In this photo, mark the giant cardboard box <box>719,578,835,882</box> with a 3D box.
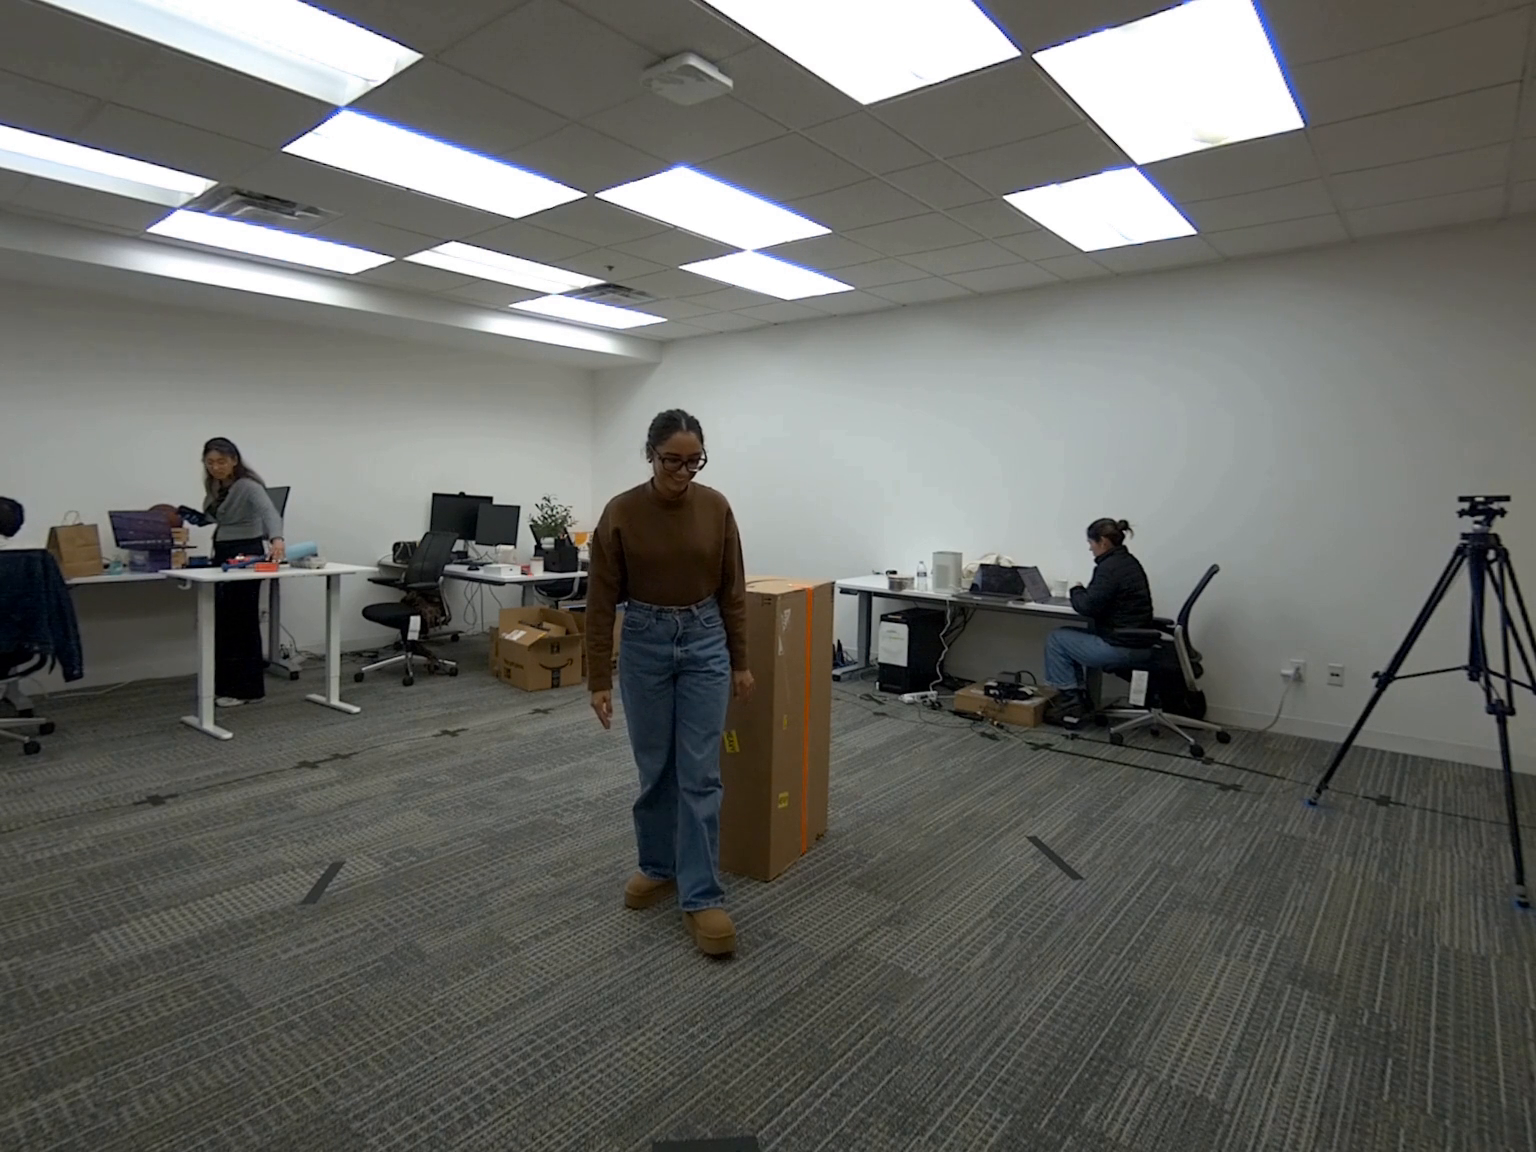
[{"bbox_3d":[-0.051,0.540,3.327,0.459,1.024,0.570,2,3,25],"label":"giant cardboard box"}]
